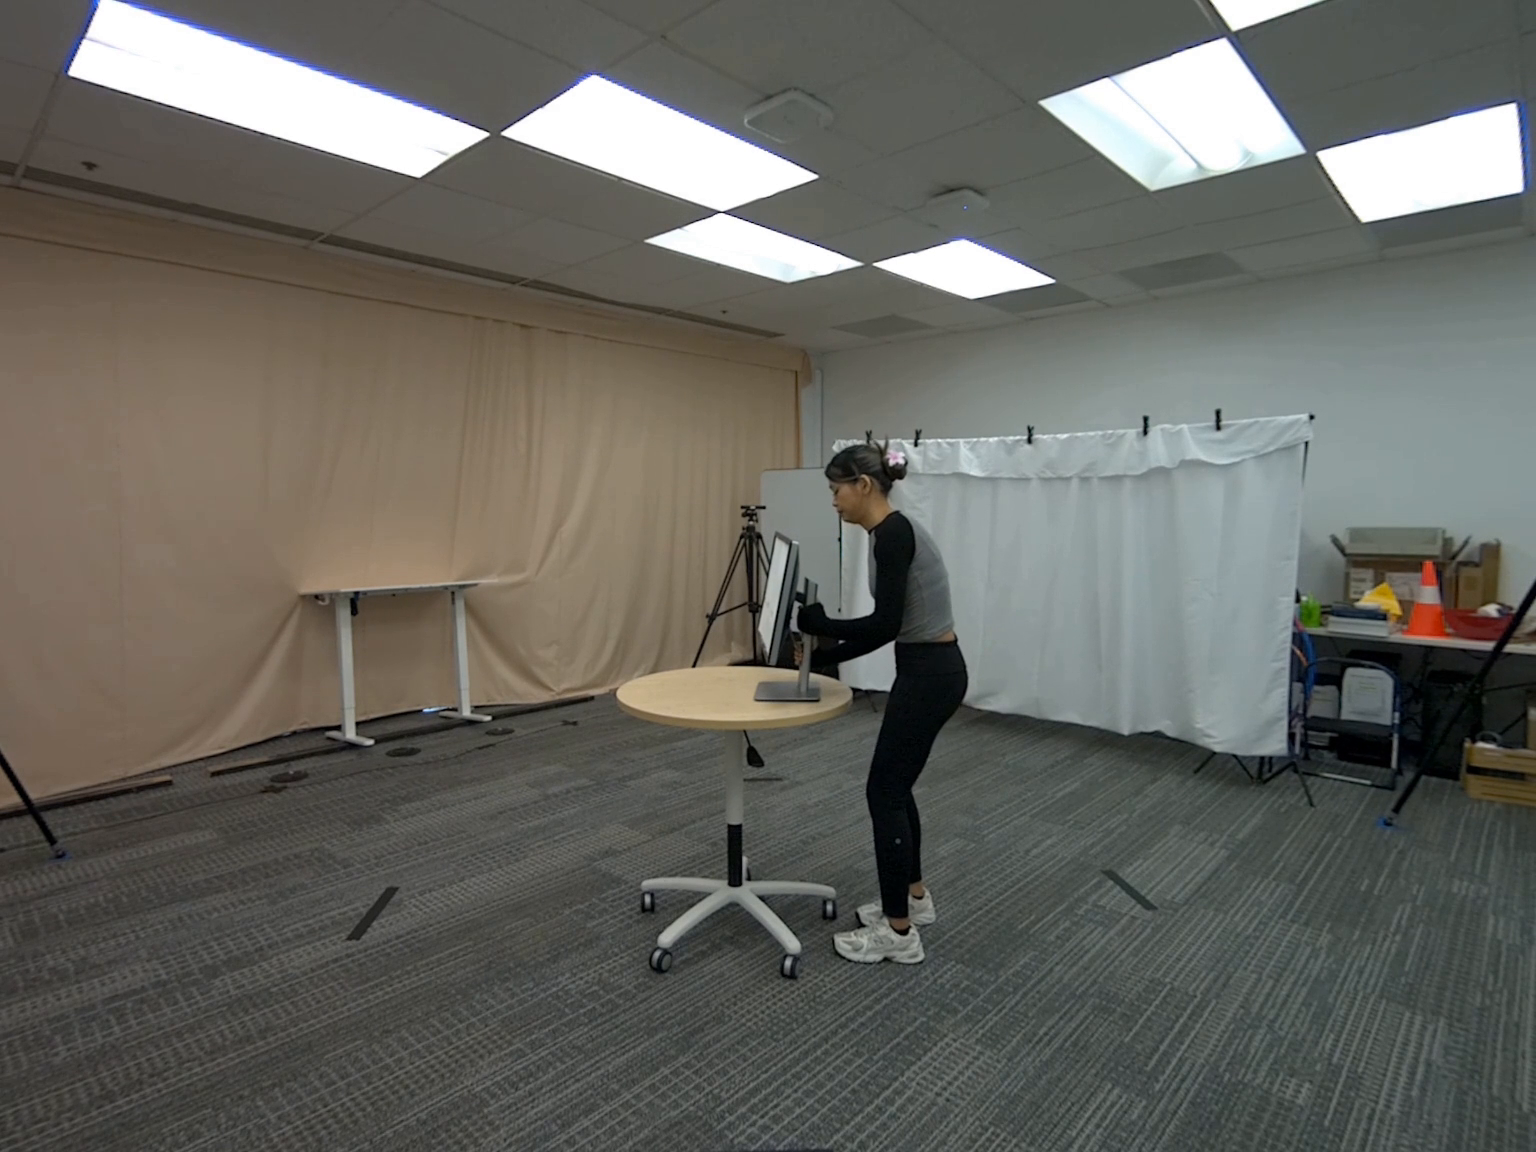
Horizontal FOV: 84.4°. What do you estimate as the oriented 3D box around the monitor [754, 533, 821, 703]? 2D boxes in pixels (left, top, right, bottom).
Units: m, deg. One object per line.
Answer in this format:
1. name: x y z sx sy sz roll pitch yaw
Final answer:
1. monitor: 0.073 0.135 2.693 0.186 0.521 0.542 0 4 -5
